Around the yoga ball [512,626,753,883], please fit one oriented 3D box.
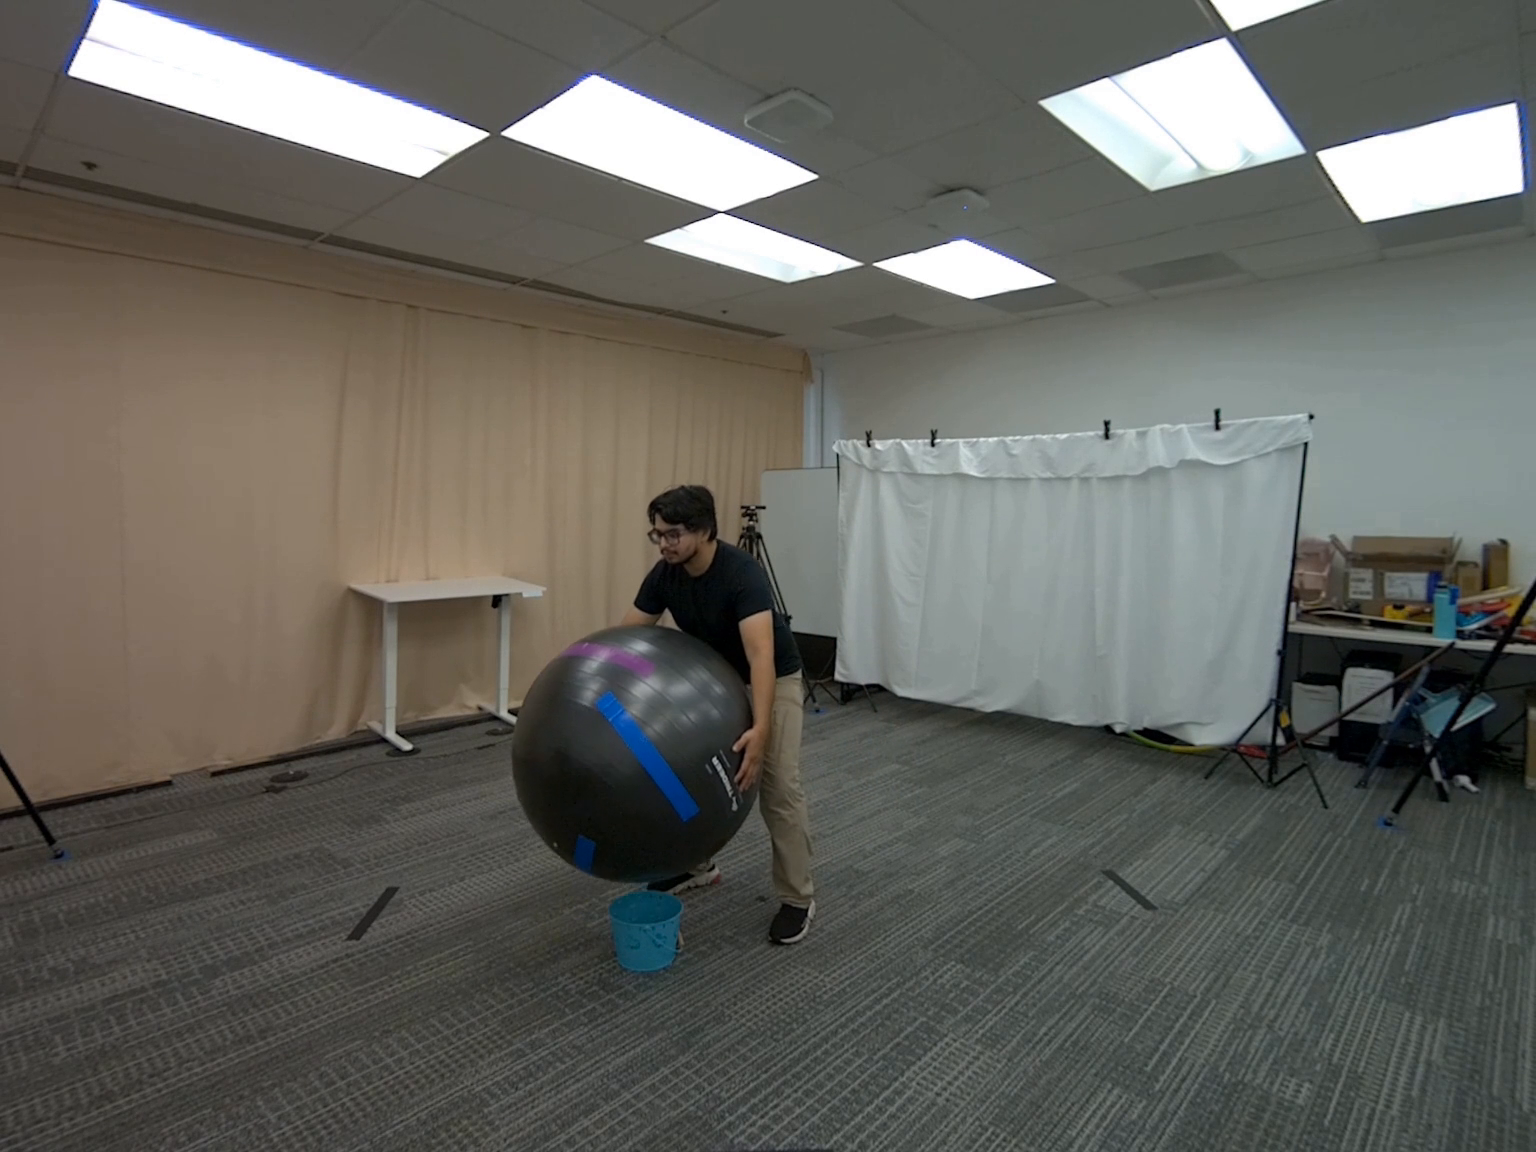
[{"bbox_3d":[-0.397,0.527,2.556,0.757,0.756,0.760,0,4,-2],"label":"yoga ball"}]
